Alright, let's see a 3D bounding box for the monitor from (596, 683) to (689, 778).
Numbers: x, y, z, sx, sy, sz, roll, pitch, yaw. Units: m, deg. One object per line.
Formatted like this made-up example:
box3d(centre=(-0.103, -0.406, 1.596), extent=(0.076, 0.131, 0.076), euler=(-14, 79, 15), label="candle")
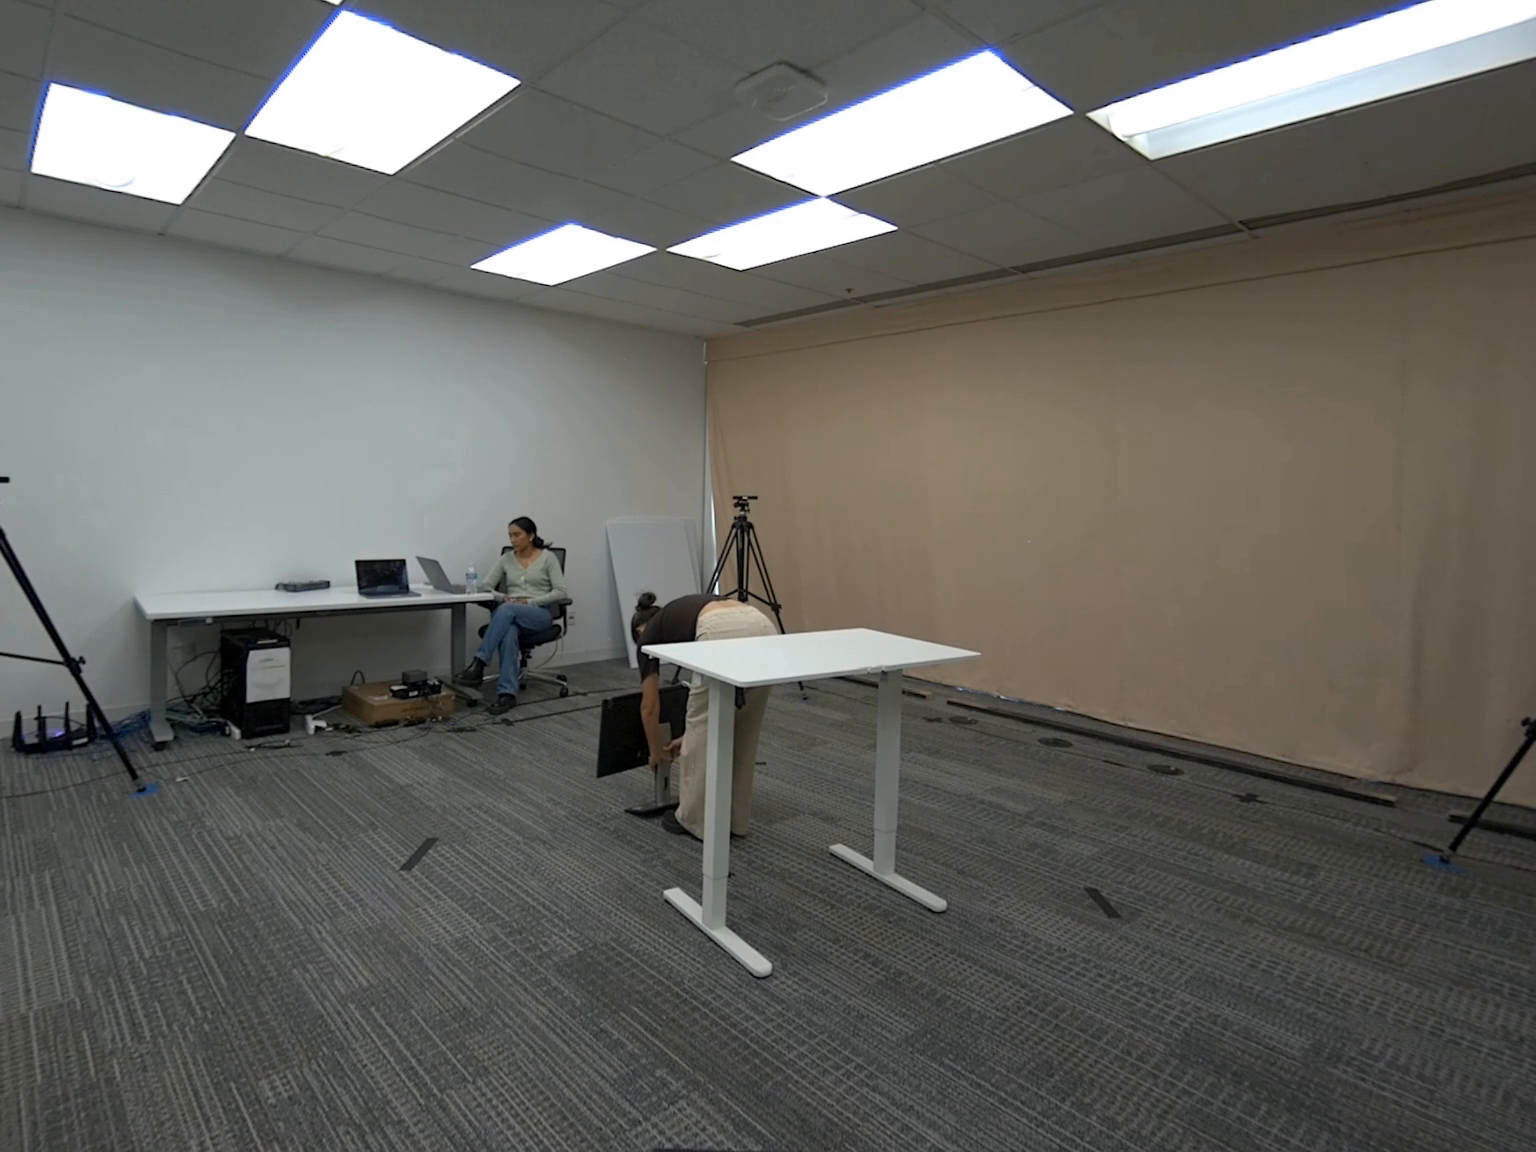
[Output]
box3d(centre=(-0.508, 0.771, 3.753), extent=(0.191, 0.524, 0.527), euler=(-8, -3, 42), label="monitor")
